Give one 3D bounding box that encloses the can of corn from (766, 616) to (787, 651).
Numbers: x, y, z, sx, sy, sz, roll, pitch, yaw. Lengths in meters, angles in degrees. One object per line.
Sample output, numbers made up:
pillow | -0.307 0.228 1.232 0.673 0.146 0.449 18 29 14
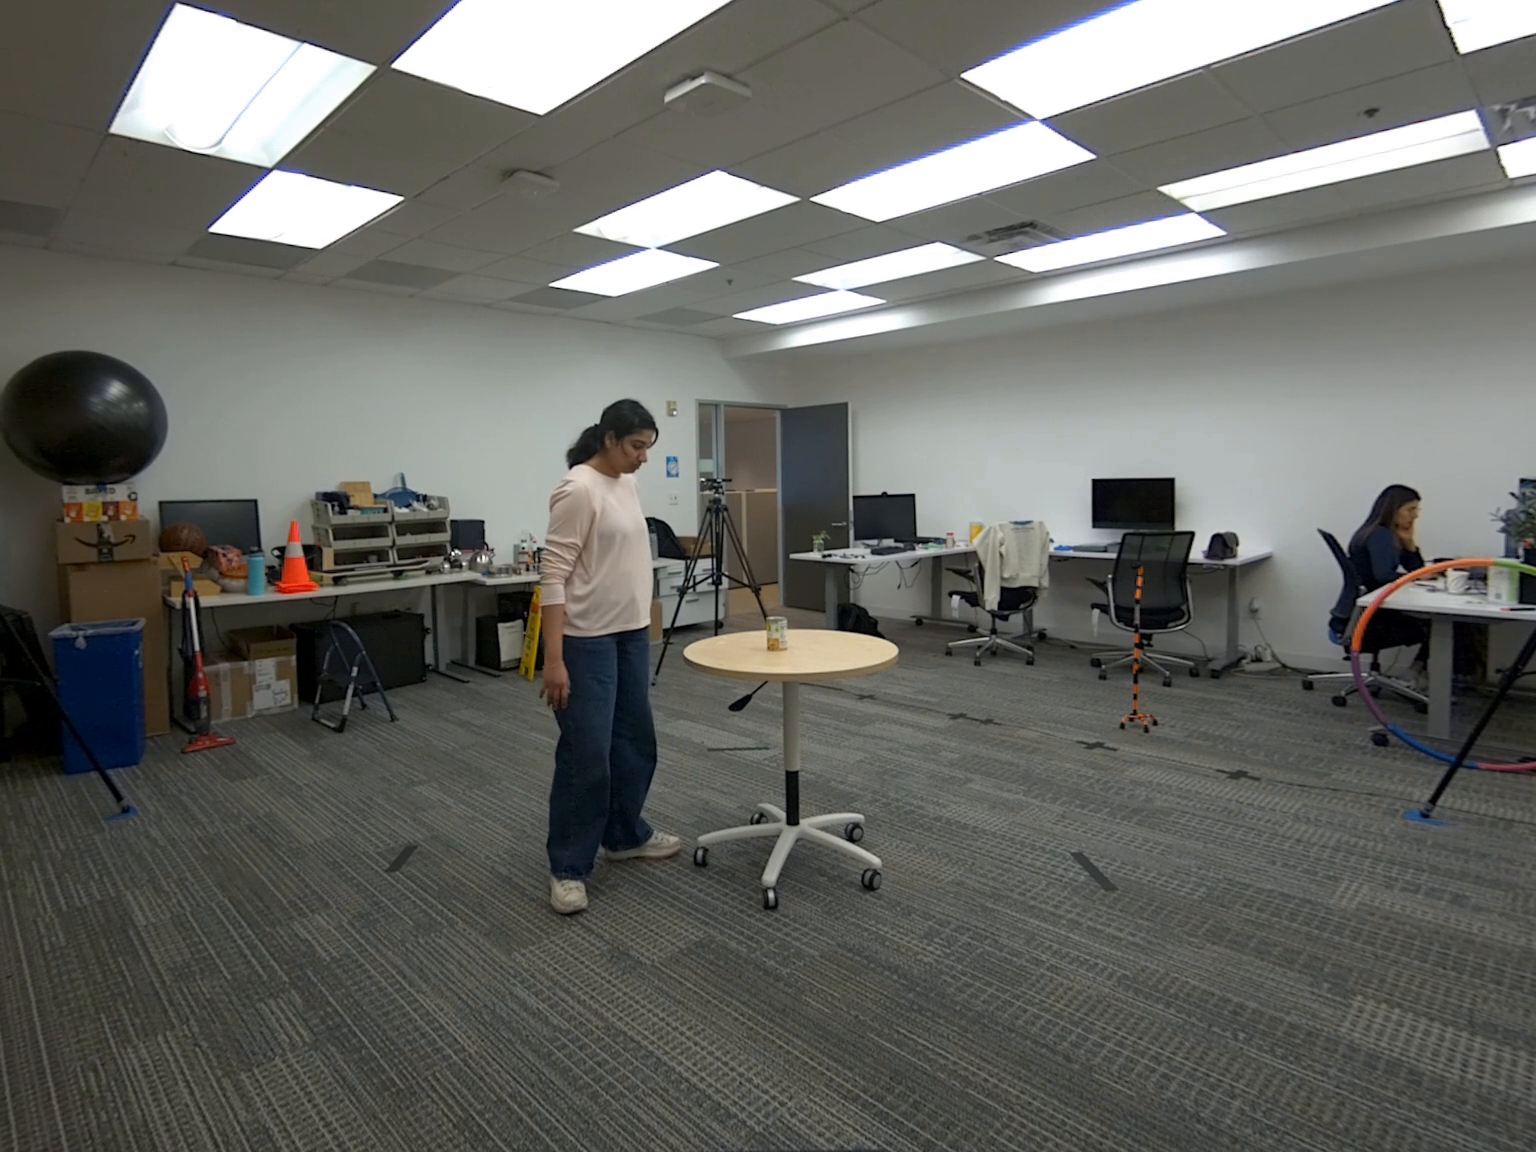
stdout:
can of corn | 0.027 0.205 3.068 0.074 0.110 0.074 -4 5 -1
